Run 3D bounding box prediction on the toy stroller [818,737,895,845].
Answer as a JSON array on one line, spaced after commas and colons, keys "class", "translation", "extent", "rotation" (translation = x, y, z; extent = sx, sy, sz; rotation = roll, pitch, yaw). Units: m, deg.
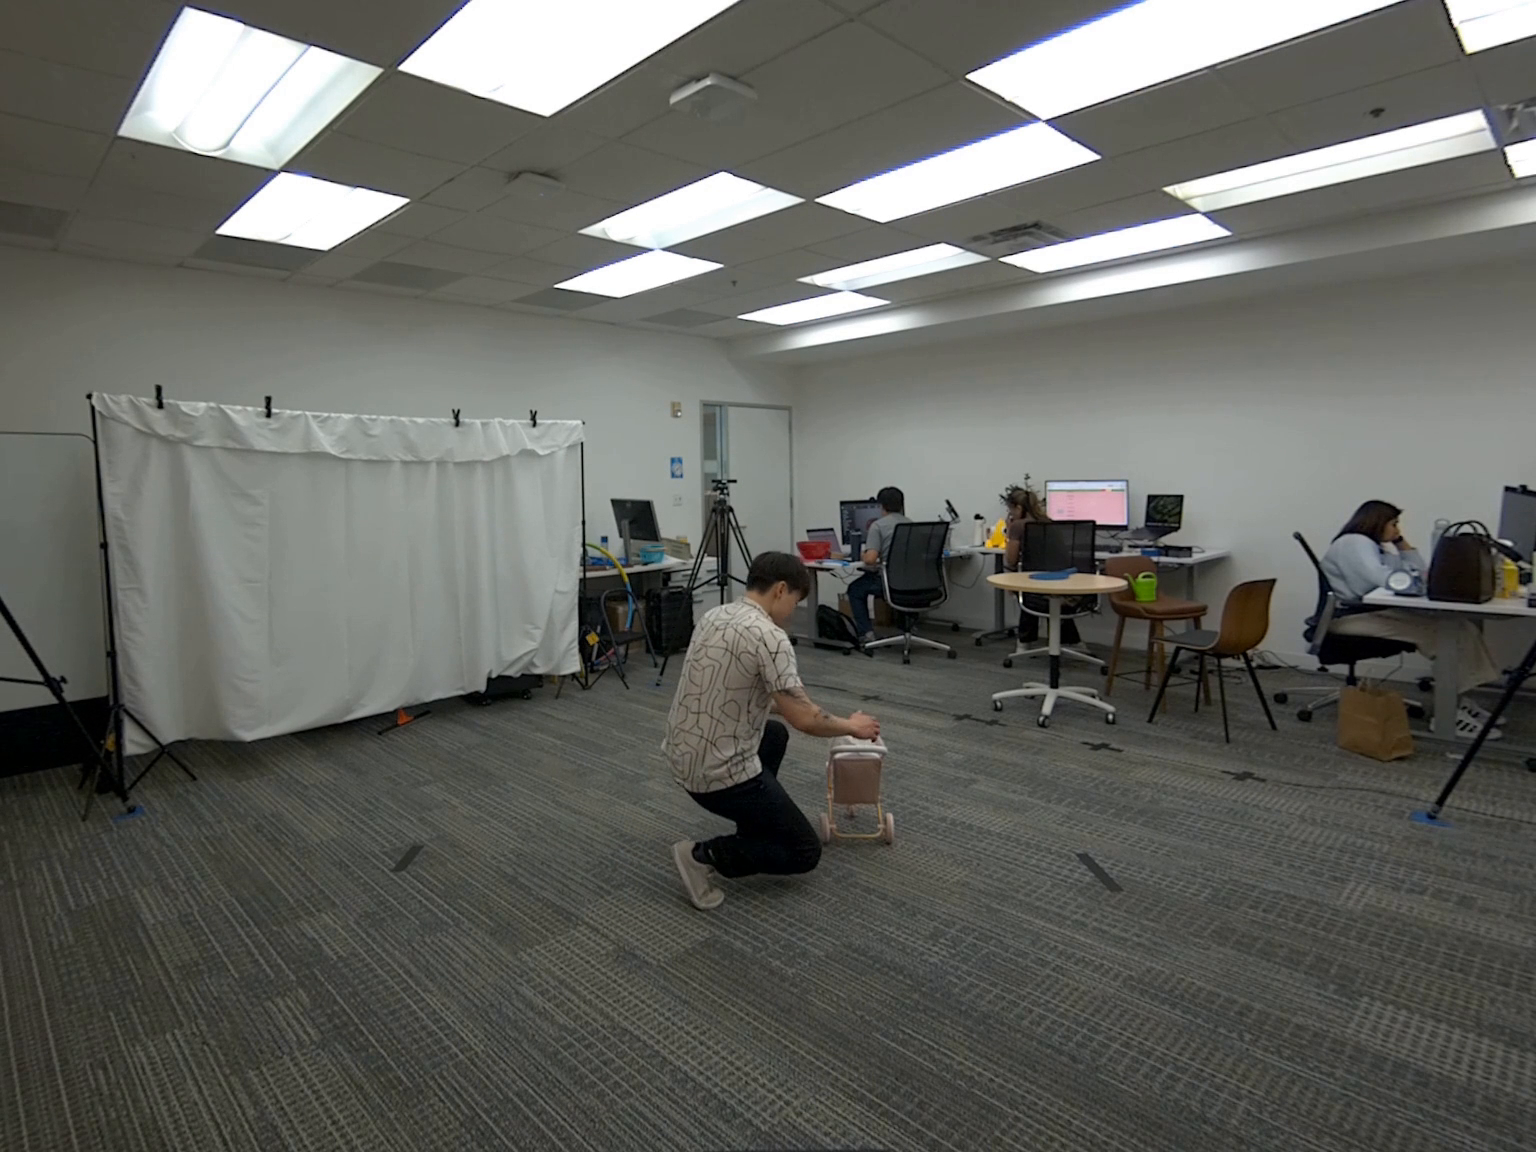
[{"class": "toy stroller", "translation": [0.342, 0.792, 3.331], "extent": [0.283, 0.525, 0.345], "rotation": [1, 22, 6]}]
